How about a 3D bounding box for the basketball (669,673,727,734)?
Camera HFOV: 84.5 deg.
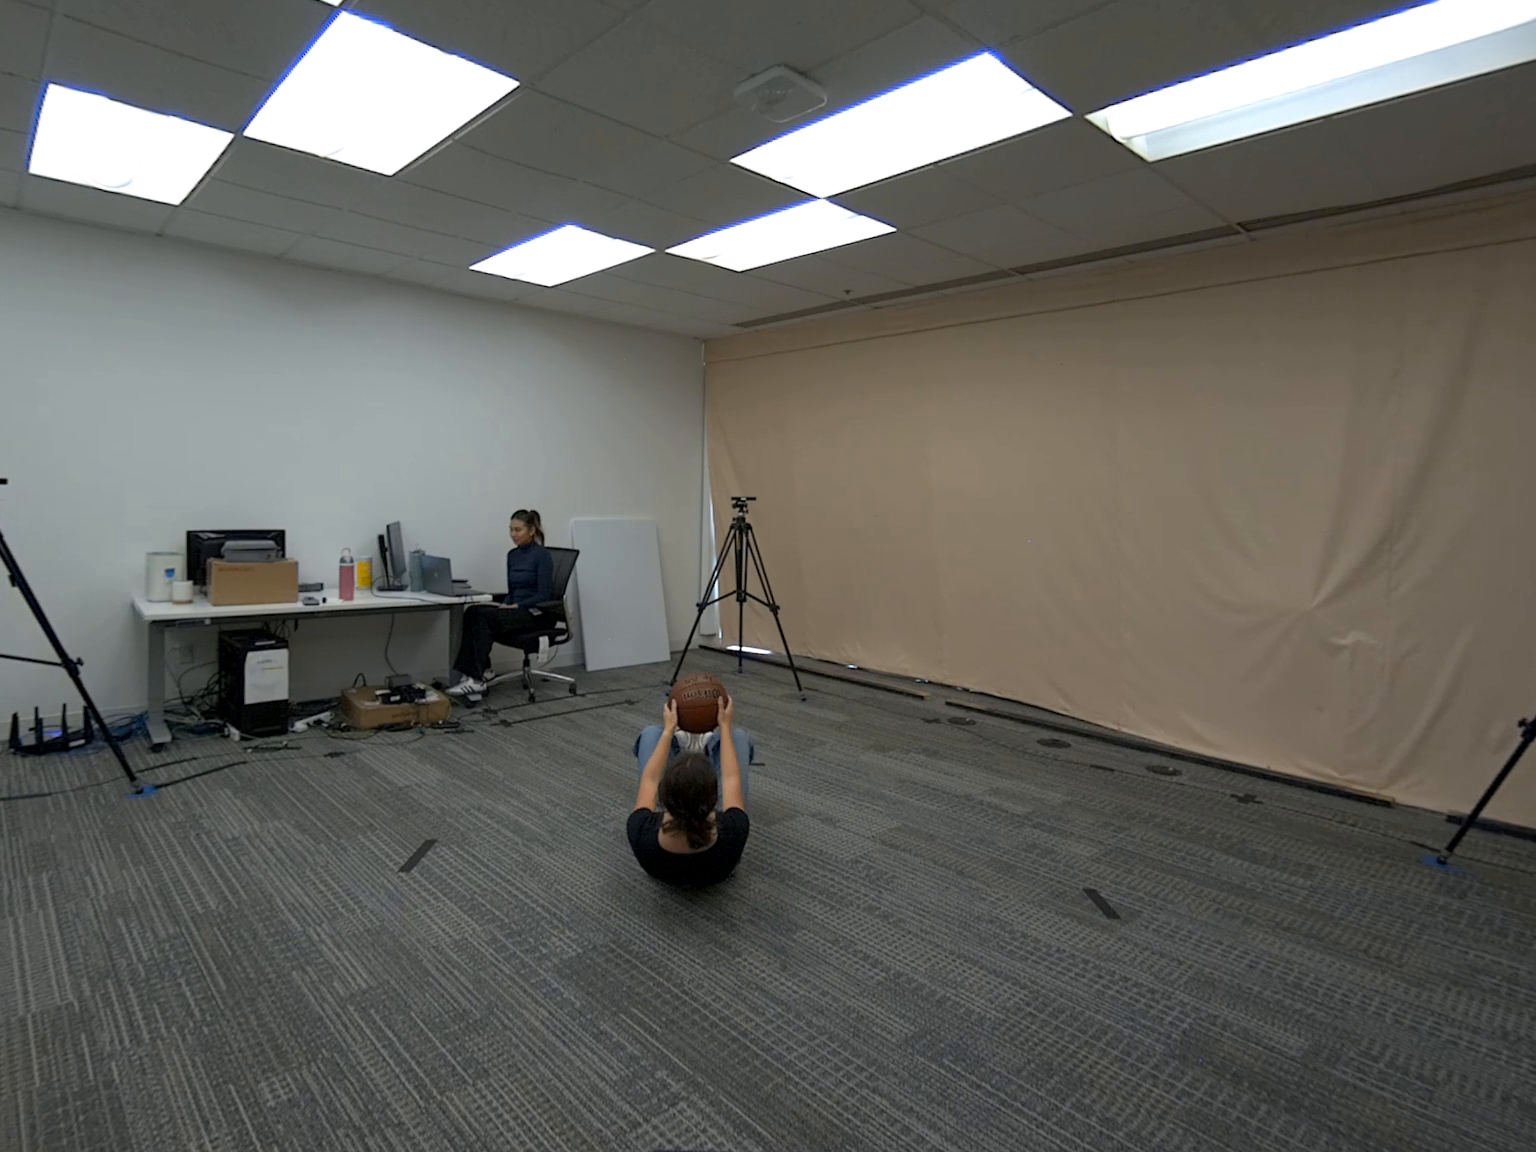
[{"bbox_3d":[-0.283,0.505,3.320,0.236,0.235,0.237,1,4,-1],"label":"basketball"}]
